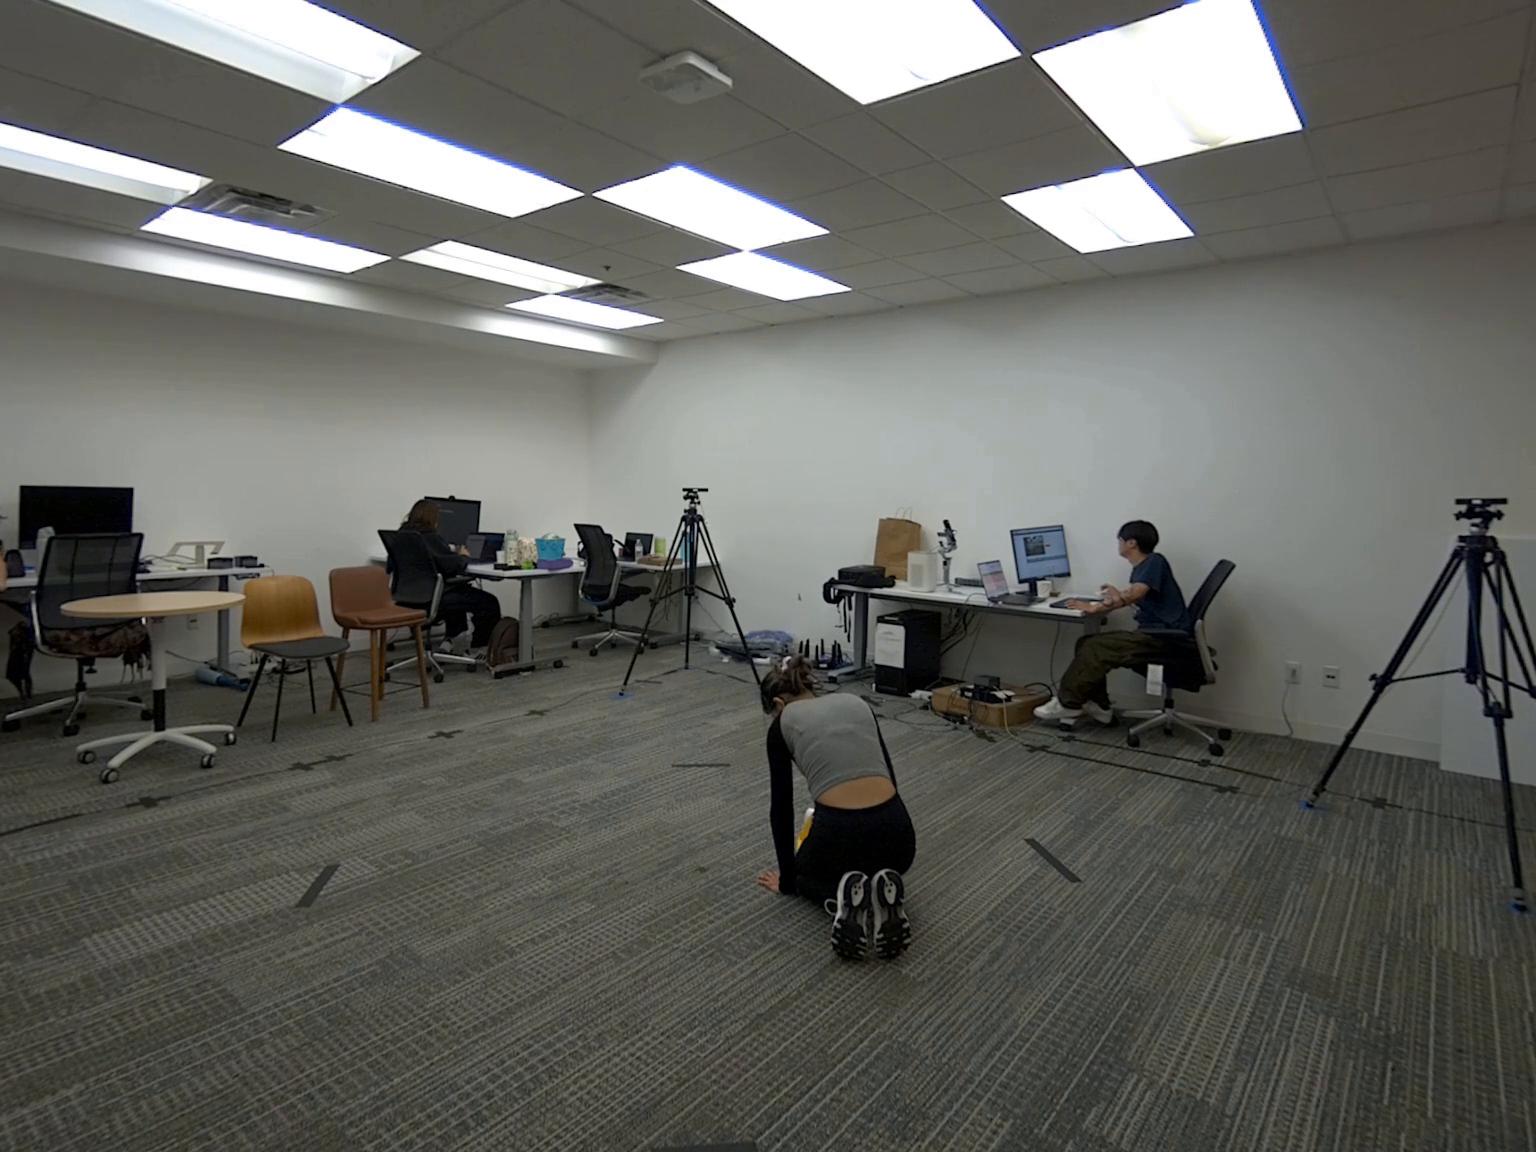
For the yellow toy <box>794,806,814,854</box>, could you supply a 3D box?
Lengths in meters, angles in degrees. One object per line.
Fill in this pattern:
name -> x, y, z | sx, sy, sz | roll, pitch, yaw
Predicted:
yellow toy -> 0.206, 0.943, 3.276 | 0.205, 0.230, 0.193 | 1, 5, 1
